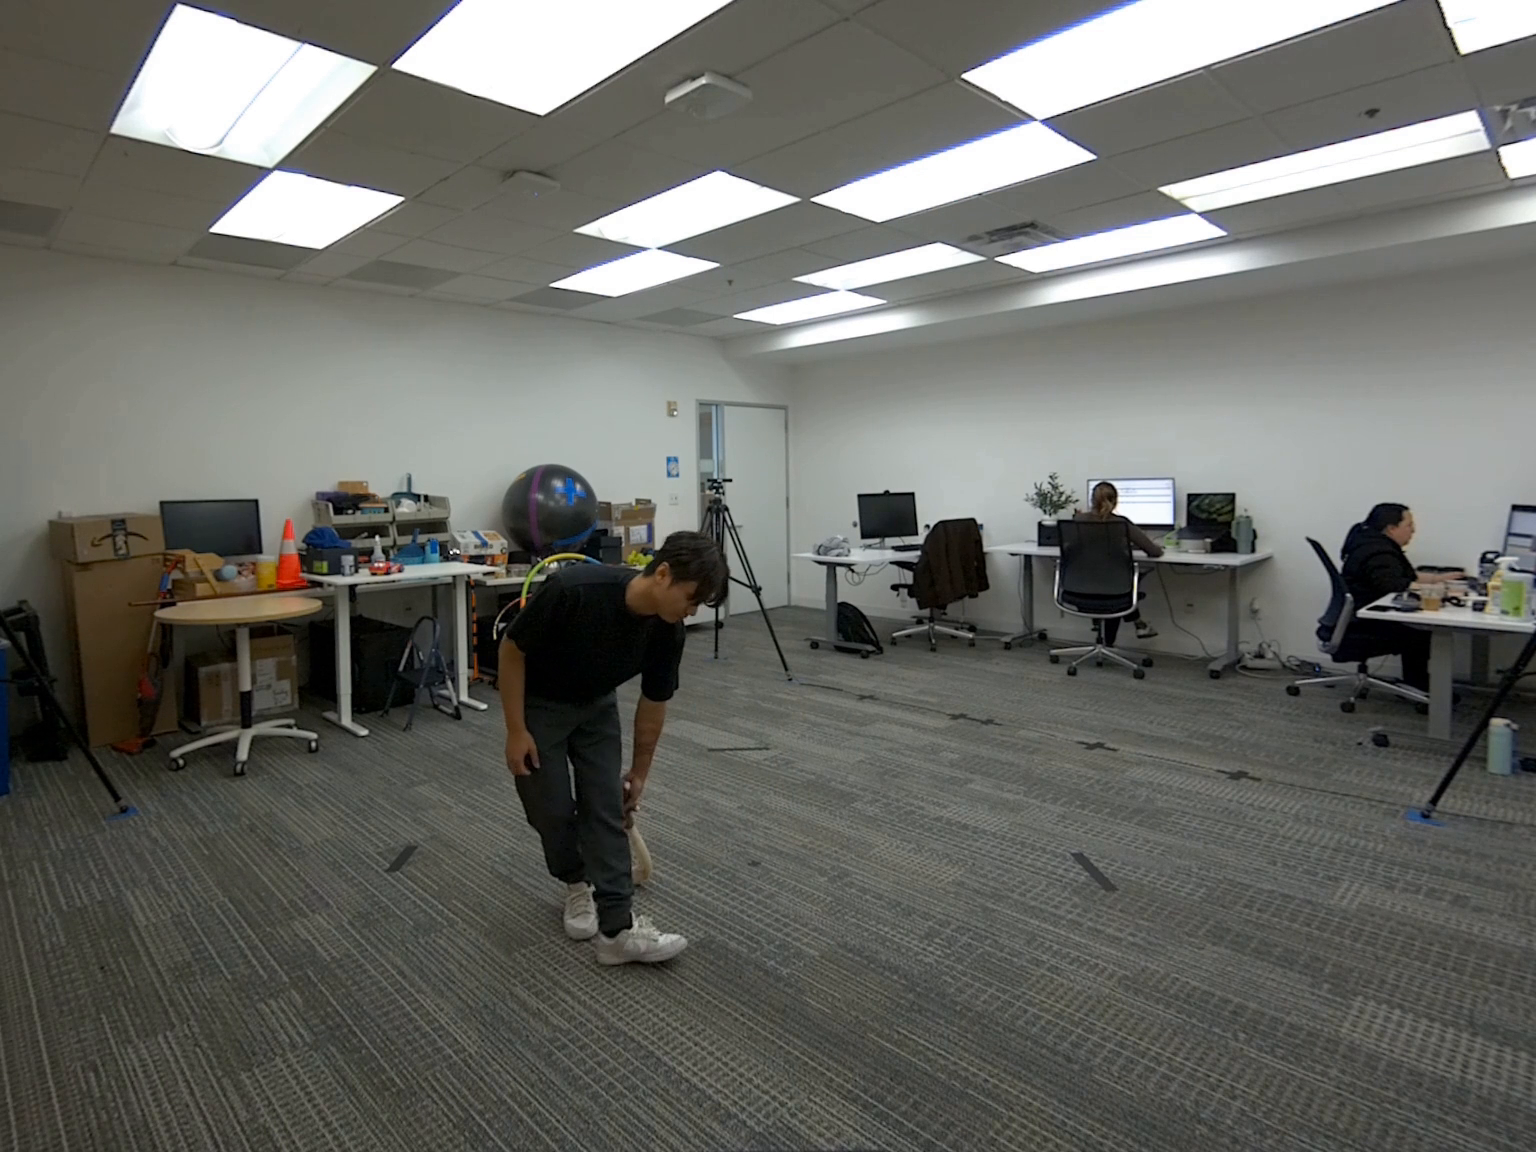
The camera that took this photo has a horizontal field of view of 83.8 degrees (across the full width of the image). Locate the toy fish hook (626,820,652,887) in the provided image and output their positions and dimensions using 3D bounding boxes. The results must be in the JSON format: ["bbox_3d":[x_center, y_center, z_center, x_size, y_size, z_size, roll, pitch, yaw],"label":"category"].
[{"bbox_3d":[-0.494,0.859,2.846,0.227,0.494,0.049,7,32,10],"label":"toy fish hook"}]
